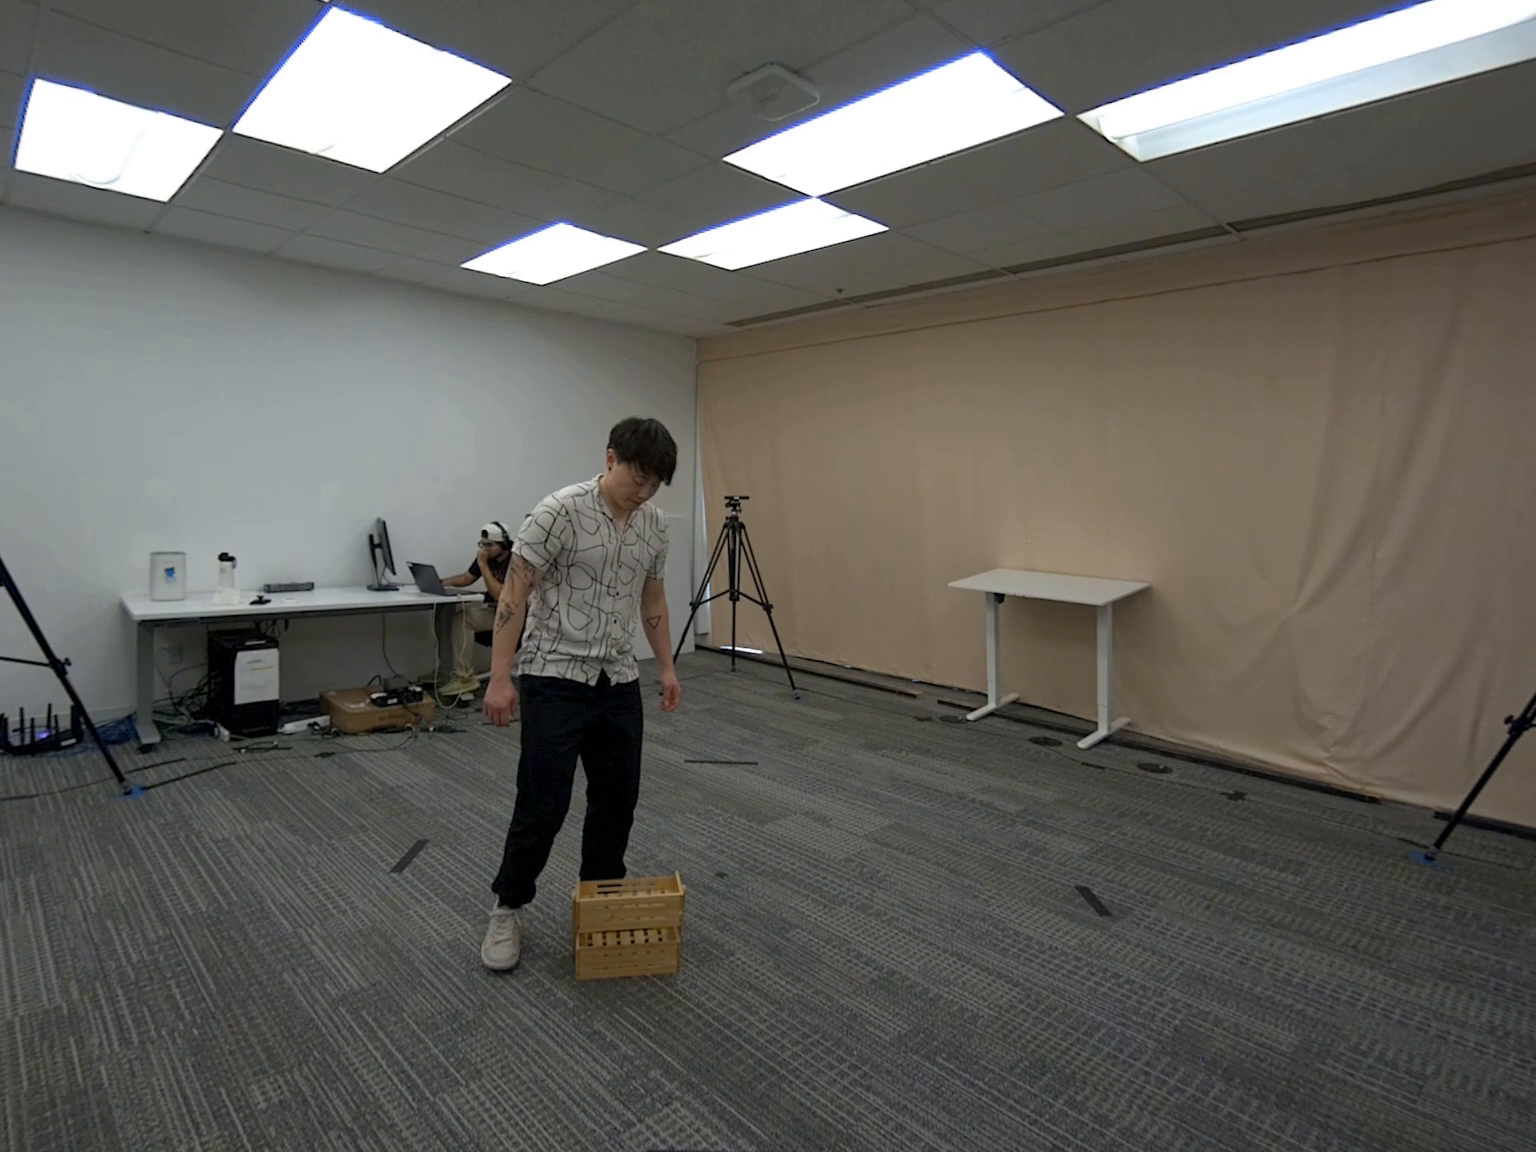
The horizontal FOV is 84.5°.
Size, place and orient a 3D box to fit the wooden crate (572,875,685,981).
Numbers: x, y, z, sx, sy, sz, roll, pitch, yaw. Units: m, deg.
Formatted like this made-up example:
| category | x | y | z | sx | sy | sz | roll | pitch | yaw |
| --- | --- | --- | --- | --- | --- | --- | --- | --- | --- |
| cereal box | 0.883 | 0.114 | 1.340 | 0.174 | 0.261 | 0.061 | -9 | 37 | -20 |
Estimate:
| category | x | y | z | sx | sy | sz | roll | pitch | yaw |
| --- | --- | --- | --- | --- | --- | --- | --- | --- | --- |
| wooden crate | -0.431 | 1.017 | 2.526 | 0.321 | 0.272 | 0.306 | 0 | 5 | -12 |
